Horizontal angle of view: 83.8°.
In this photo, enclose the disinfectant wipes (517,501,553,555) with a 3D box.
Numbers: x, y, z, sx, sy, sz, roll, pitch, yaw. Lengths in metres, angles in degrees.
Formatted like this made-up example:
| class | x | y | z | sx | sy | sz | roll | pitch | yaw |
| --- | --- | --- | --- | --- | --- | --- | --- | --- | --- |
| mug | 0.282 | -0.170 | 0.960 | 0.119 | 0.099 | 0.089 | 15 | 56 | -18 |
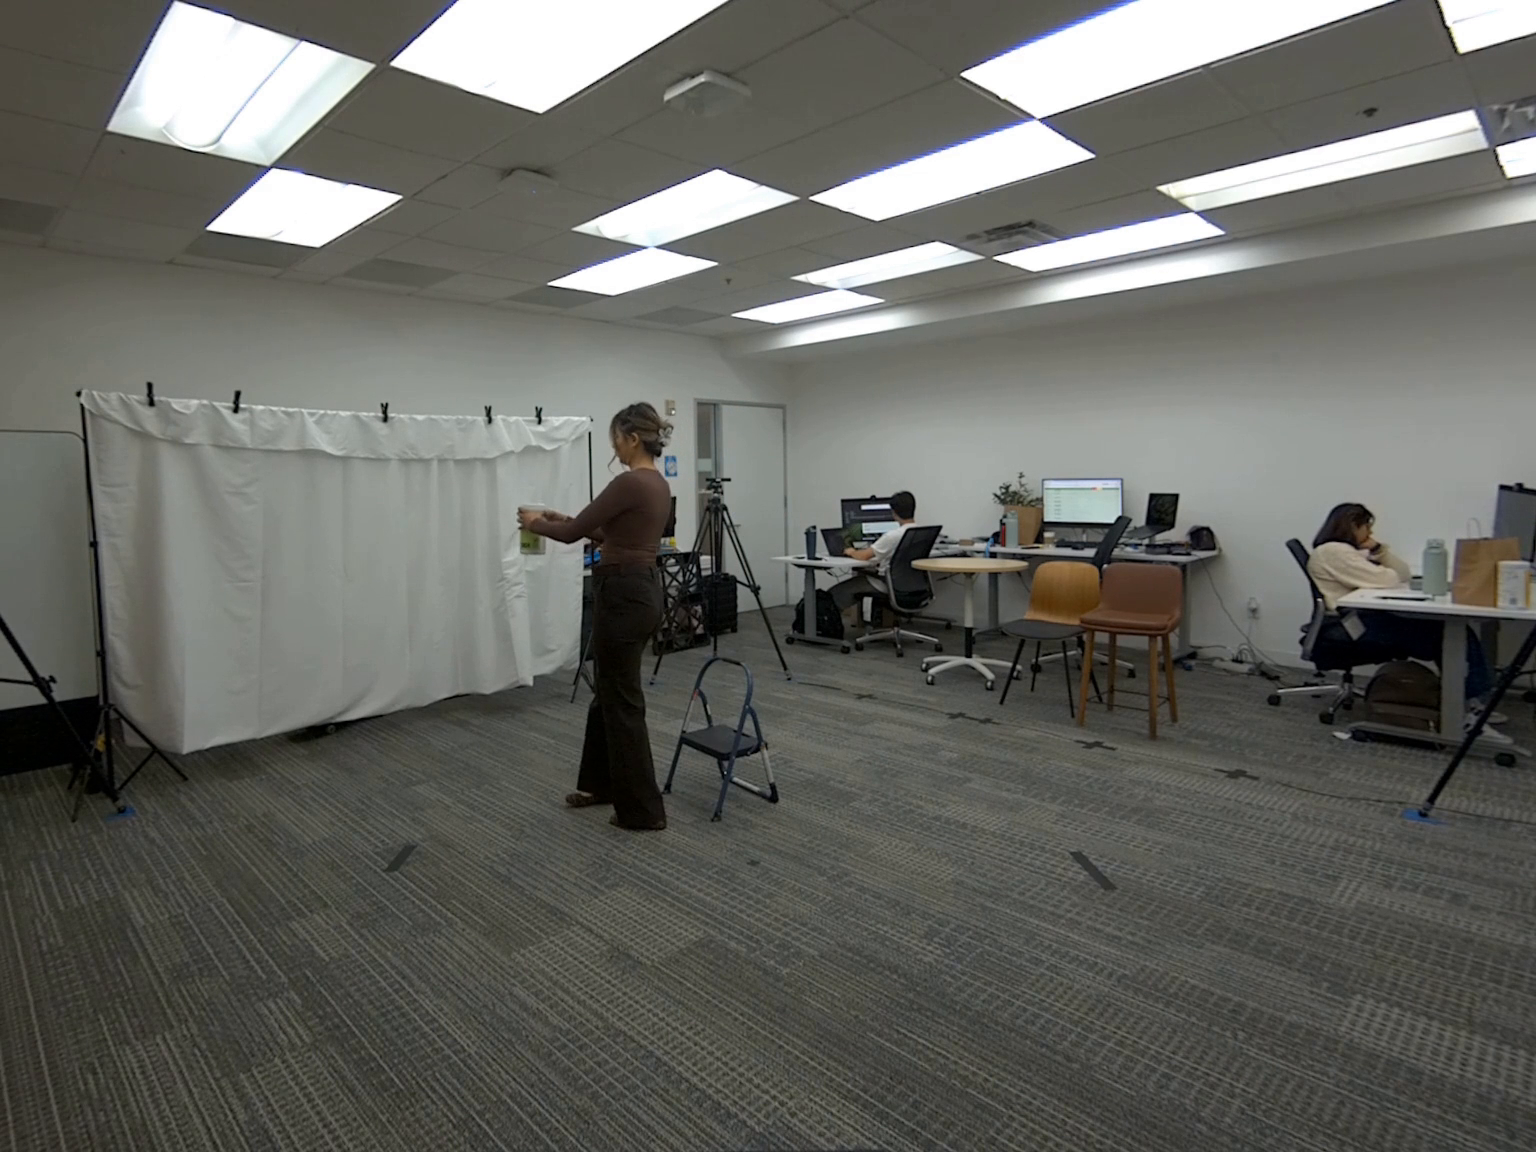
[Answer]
| class | x | y | z | sx | sy | sz | roll | pitch | yaw |
| --- | --- | --- | --- | --- | --- | --- | --- | --- | --- |
| disinfectant wipes | -0.978 | -0.203 | 3.598 | 0.118 | 0.217 | 0.118 | 1 | 1 | -2 |
